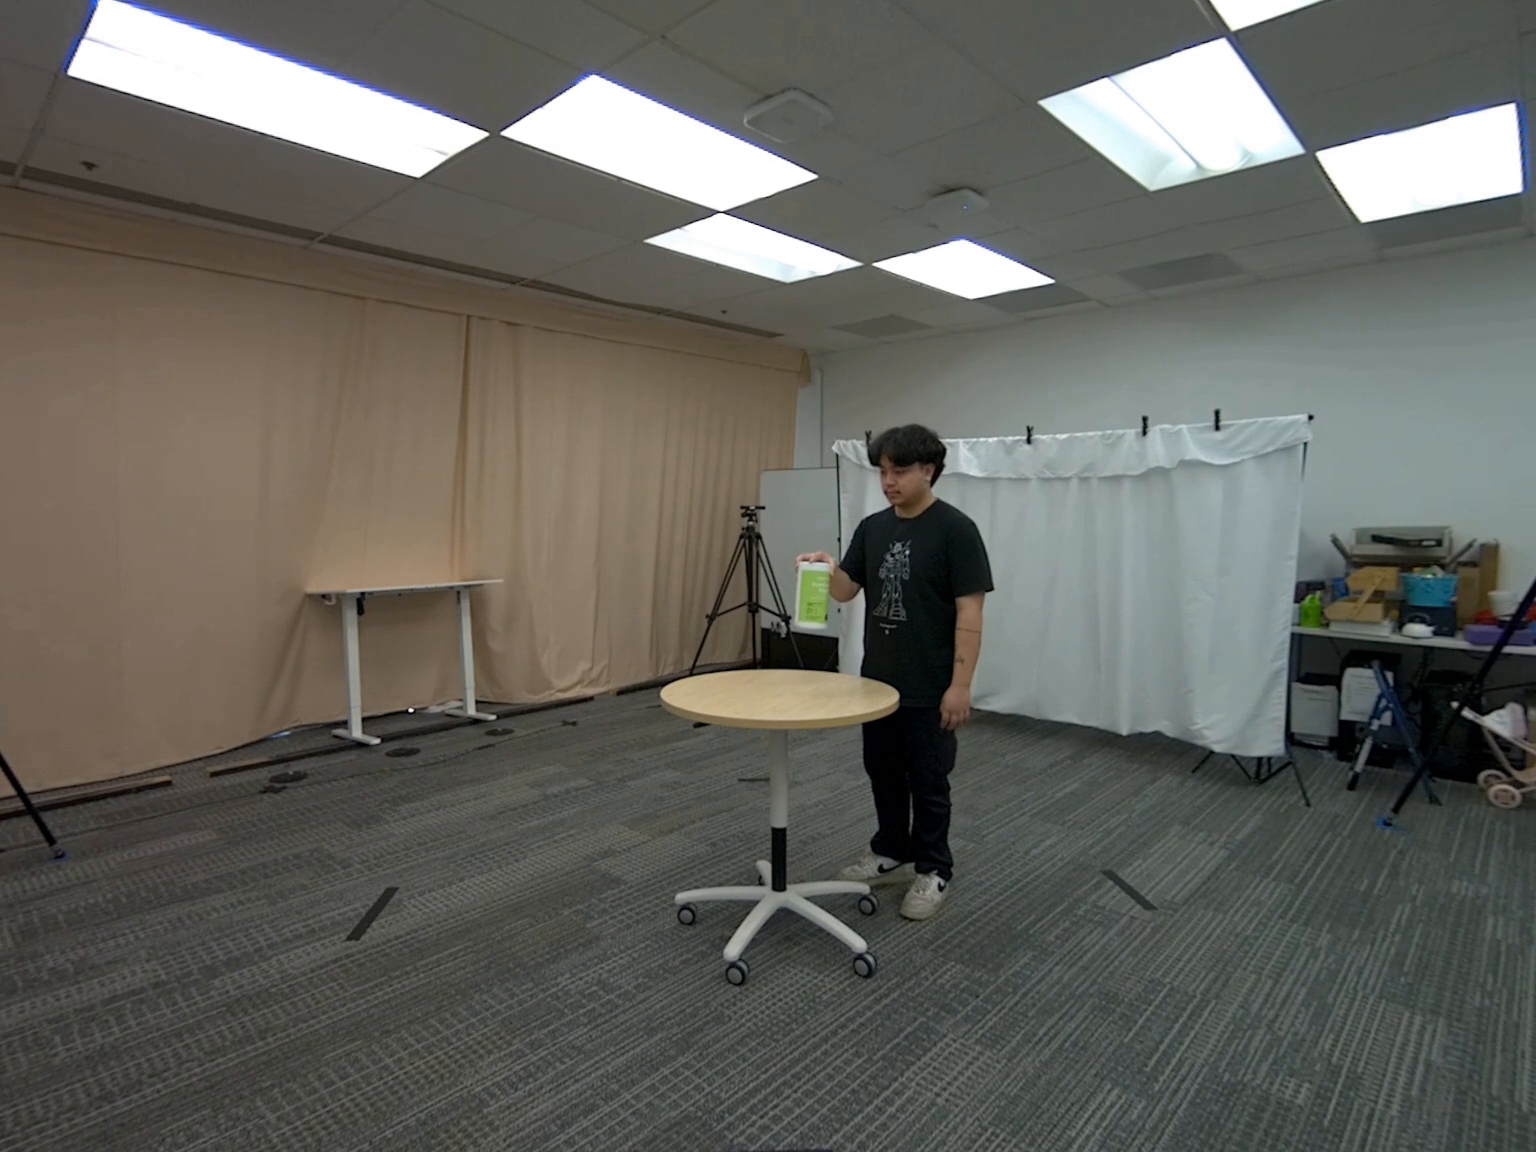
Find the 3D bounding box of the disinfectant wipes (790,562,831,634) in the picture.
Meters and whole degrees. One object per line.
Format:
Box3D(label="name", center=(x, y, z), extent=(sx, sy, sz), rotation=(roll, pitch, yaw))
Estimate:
Box3D(label="disinfectant wipes", center=(0.149, 0.068, 2.758), extent=(0.118, 0.217, 0.118), rotation=(4, -1, -2))
